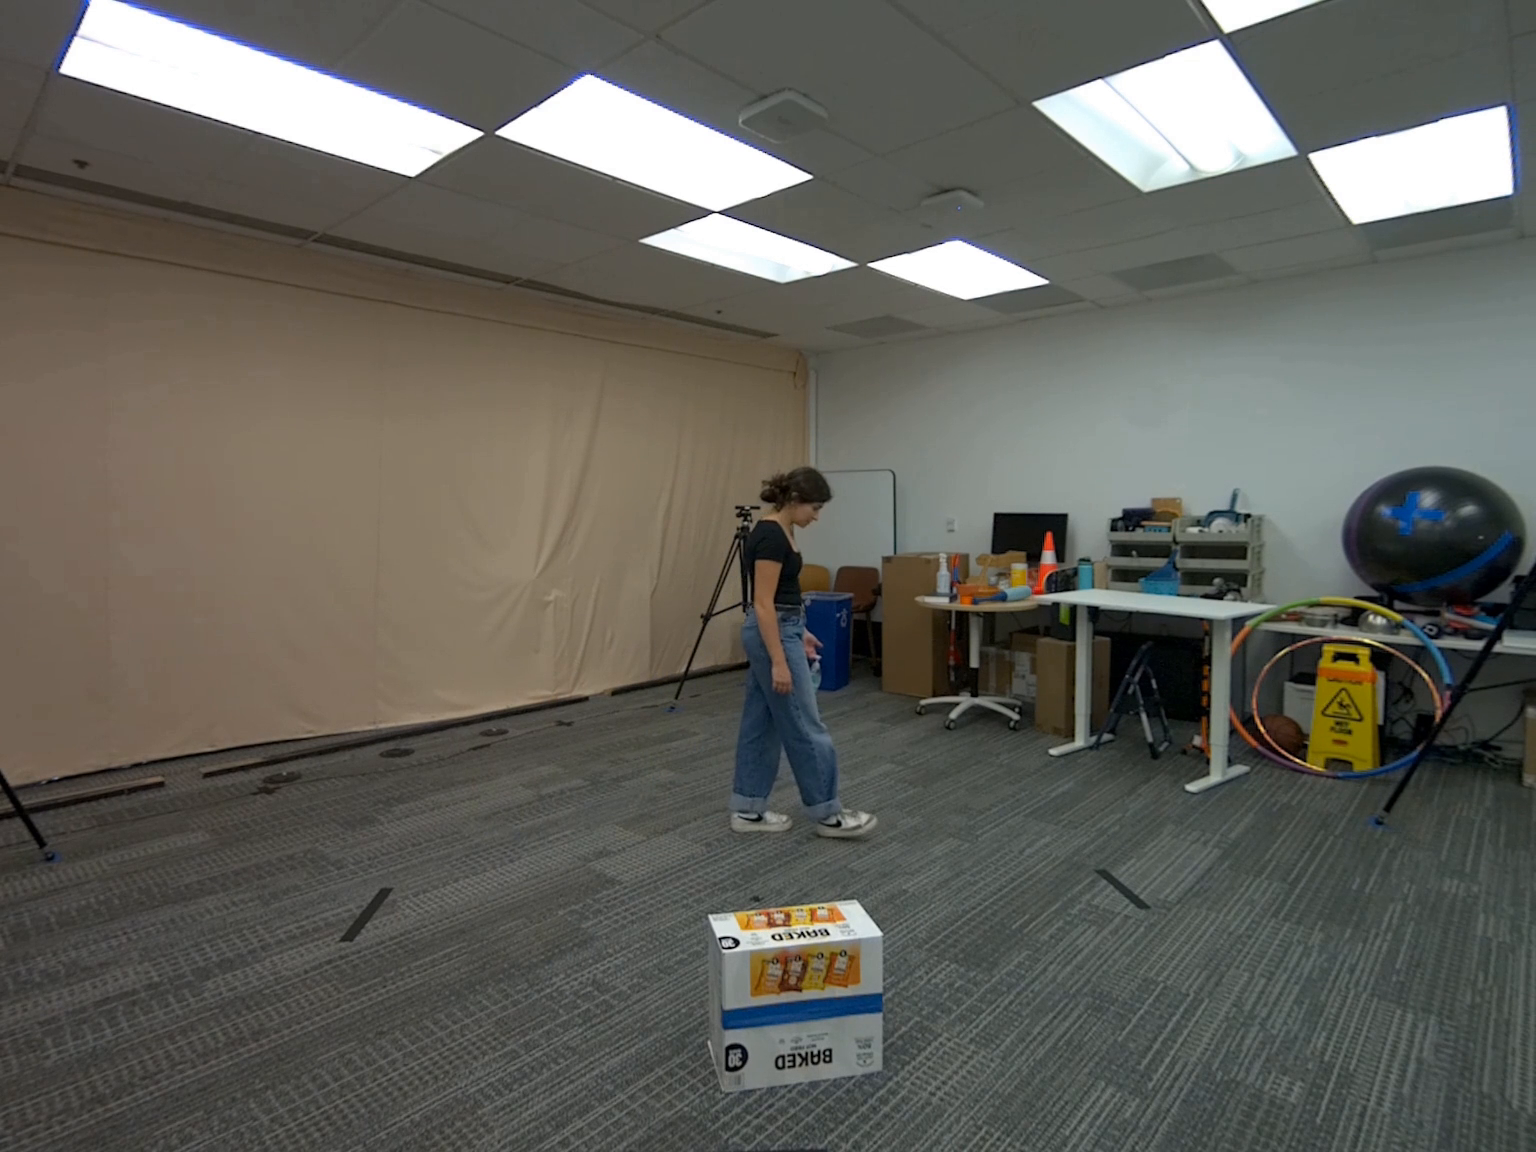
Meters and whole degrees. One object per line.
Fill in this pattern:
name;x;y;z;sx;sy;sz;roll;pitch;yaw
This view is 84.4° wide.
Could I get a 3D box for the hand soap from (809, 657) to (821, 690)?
hand soap;0.212;0.440;3.811;0.082;0.168;0.045;8;3;-42
